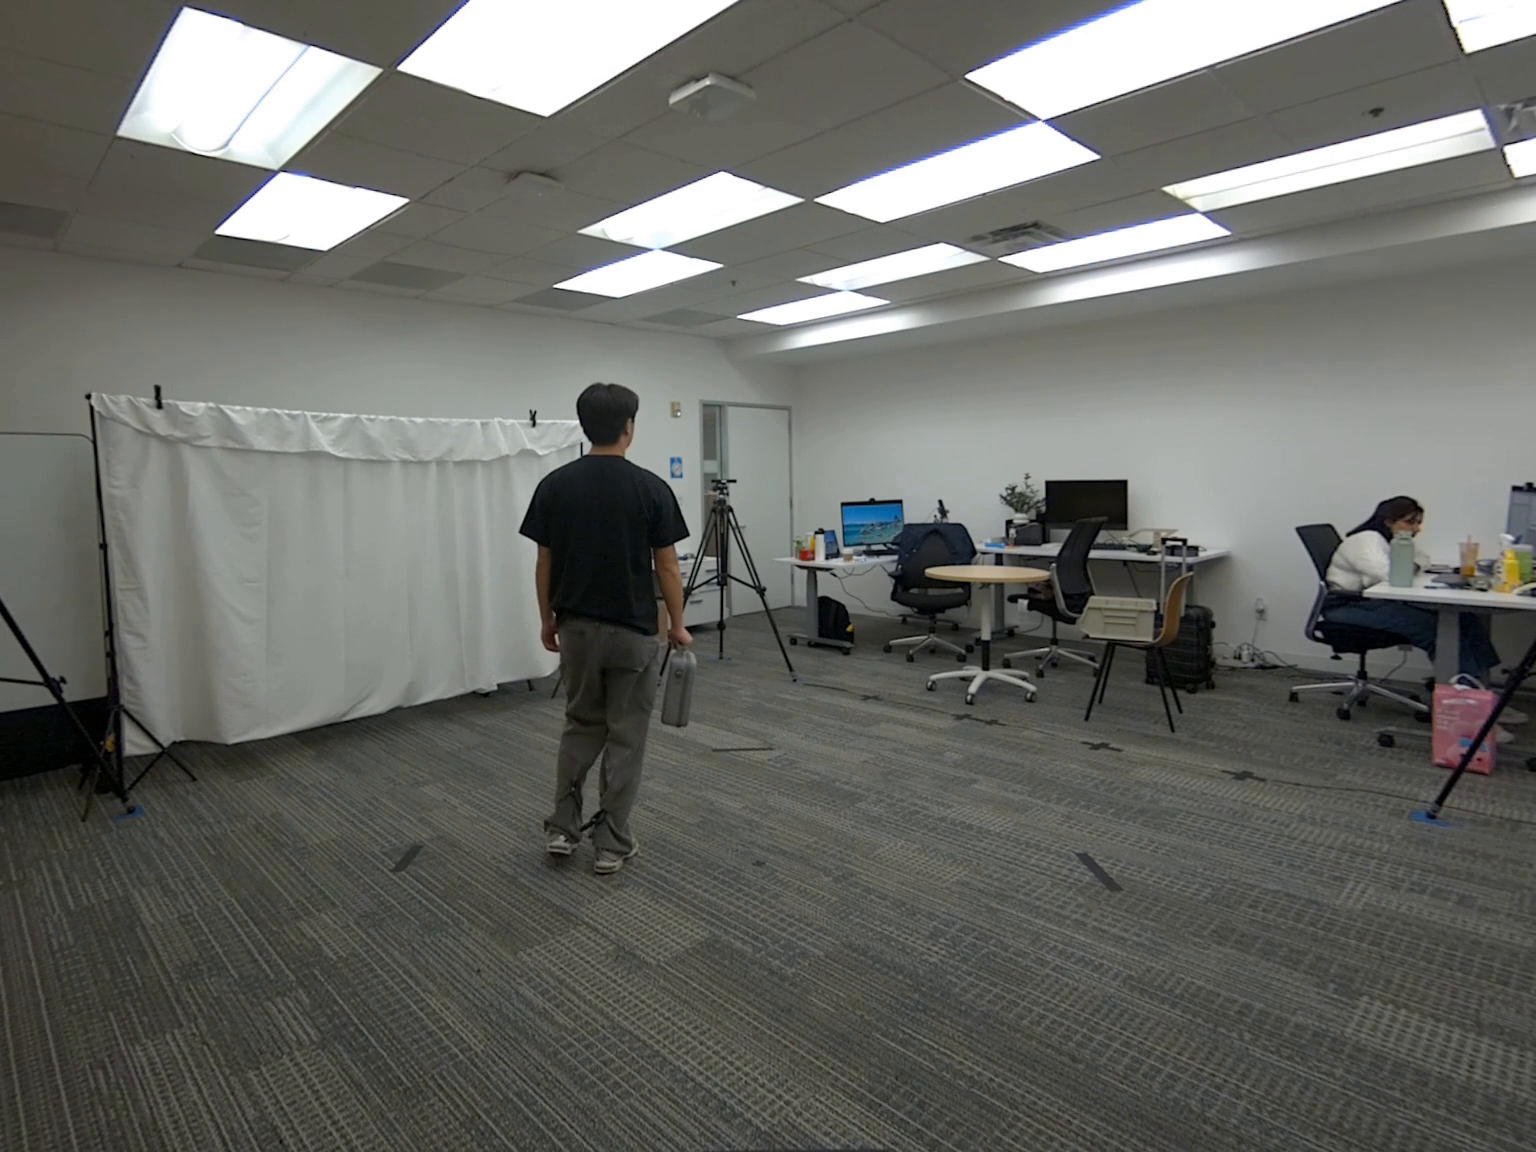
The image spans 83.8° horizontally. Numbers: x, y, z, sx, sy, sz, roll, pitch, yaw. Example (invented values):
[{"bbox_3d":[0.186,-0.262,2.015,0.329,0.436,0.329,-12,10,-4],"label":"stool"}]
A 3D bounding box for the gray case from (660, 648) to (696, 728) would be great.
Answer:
[{"bbox_3d":[-0.343,0.411,3.238,0.103,0.287,0.264,8,1,-5],"label":"gray case"}]
